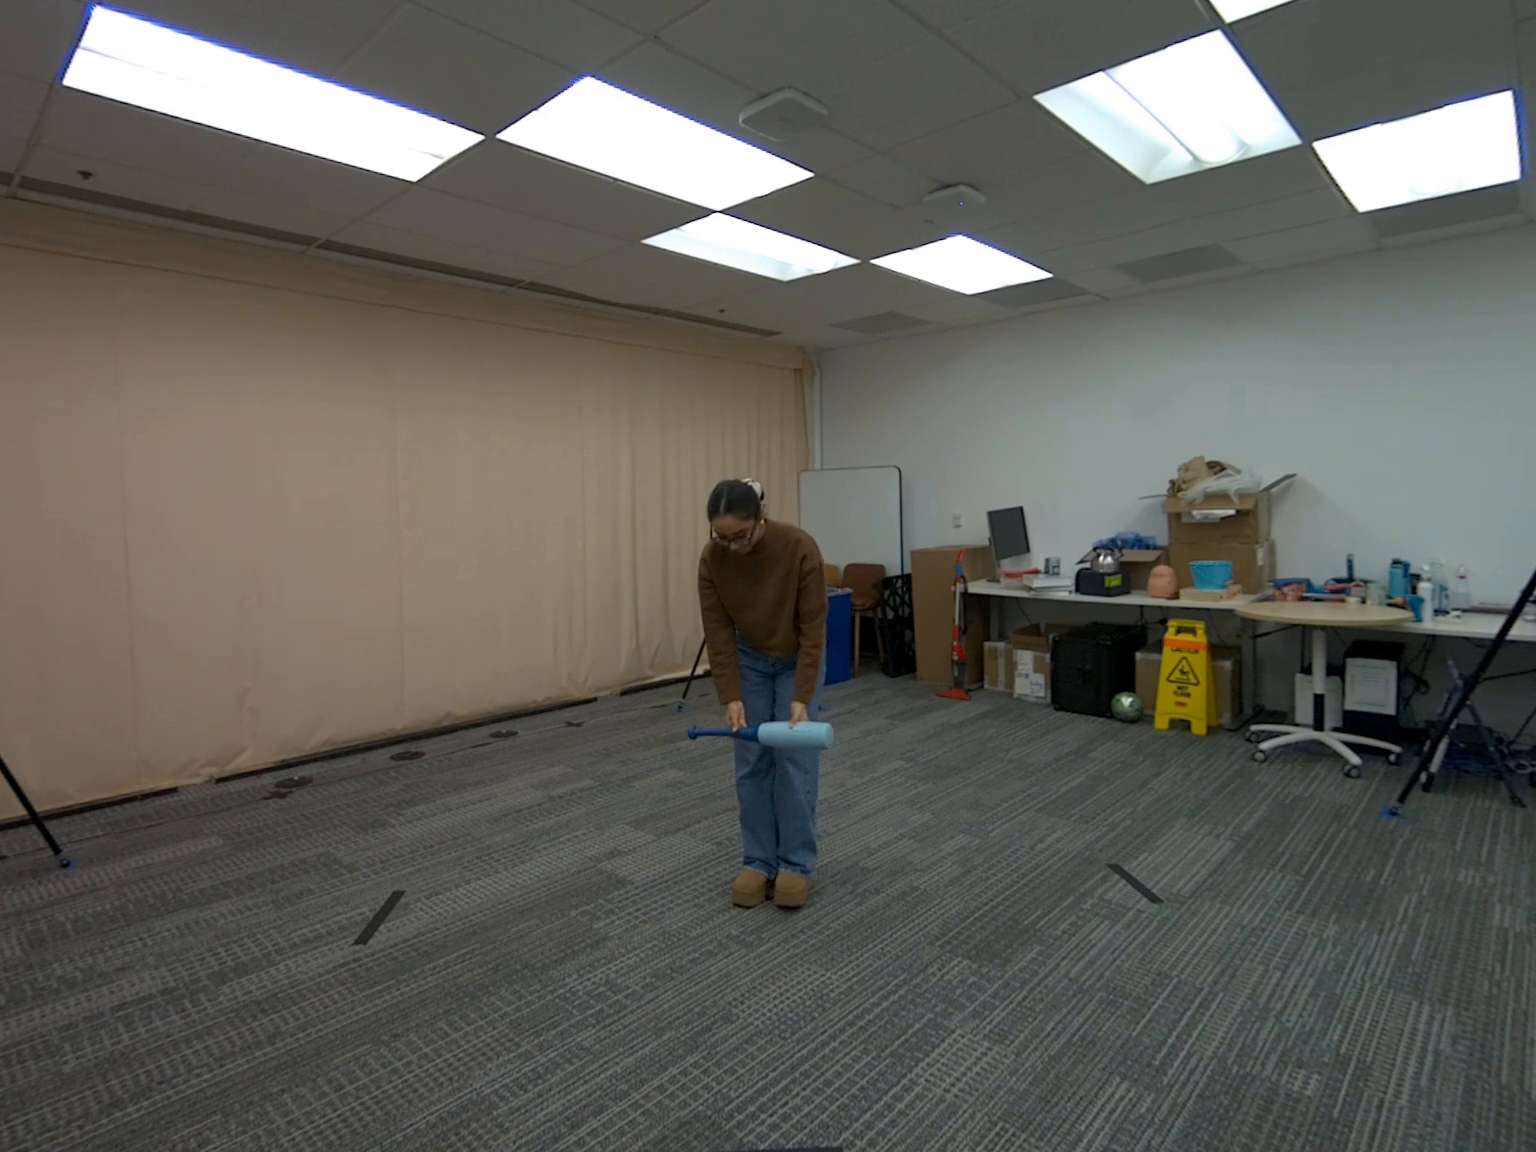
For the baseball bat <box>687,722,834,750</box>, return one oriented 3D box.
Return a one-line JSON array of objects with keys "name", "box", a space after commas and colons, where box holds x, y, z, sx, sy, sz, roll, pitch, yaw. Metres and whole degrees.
[{"name": "baseball bat", "box": [-0.035, 0.539, 2.853, 0.558, 0.089, 0.087, -3, 2, 30]}]
